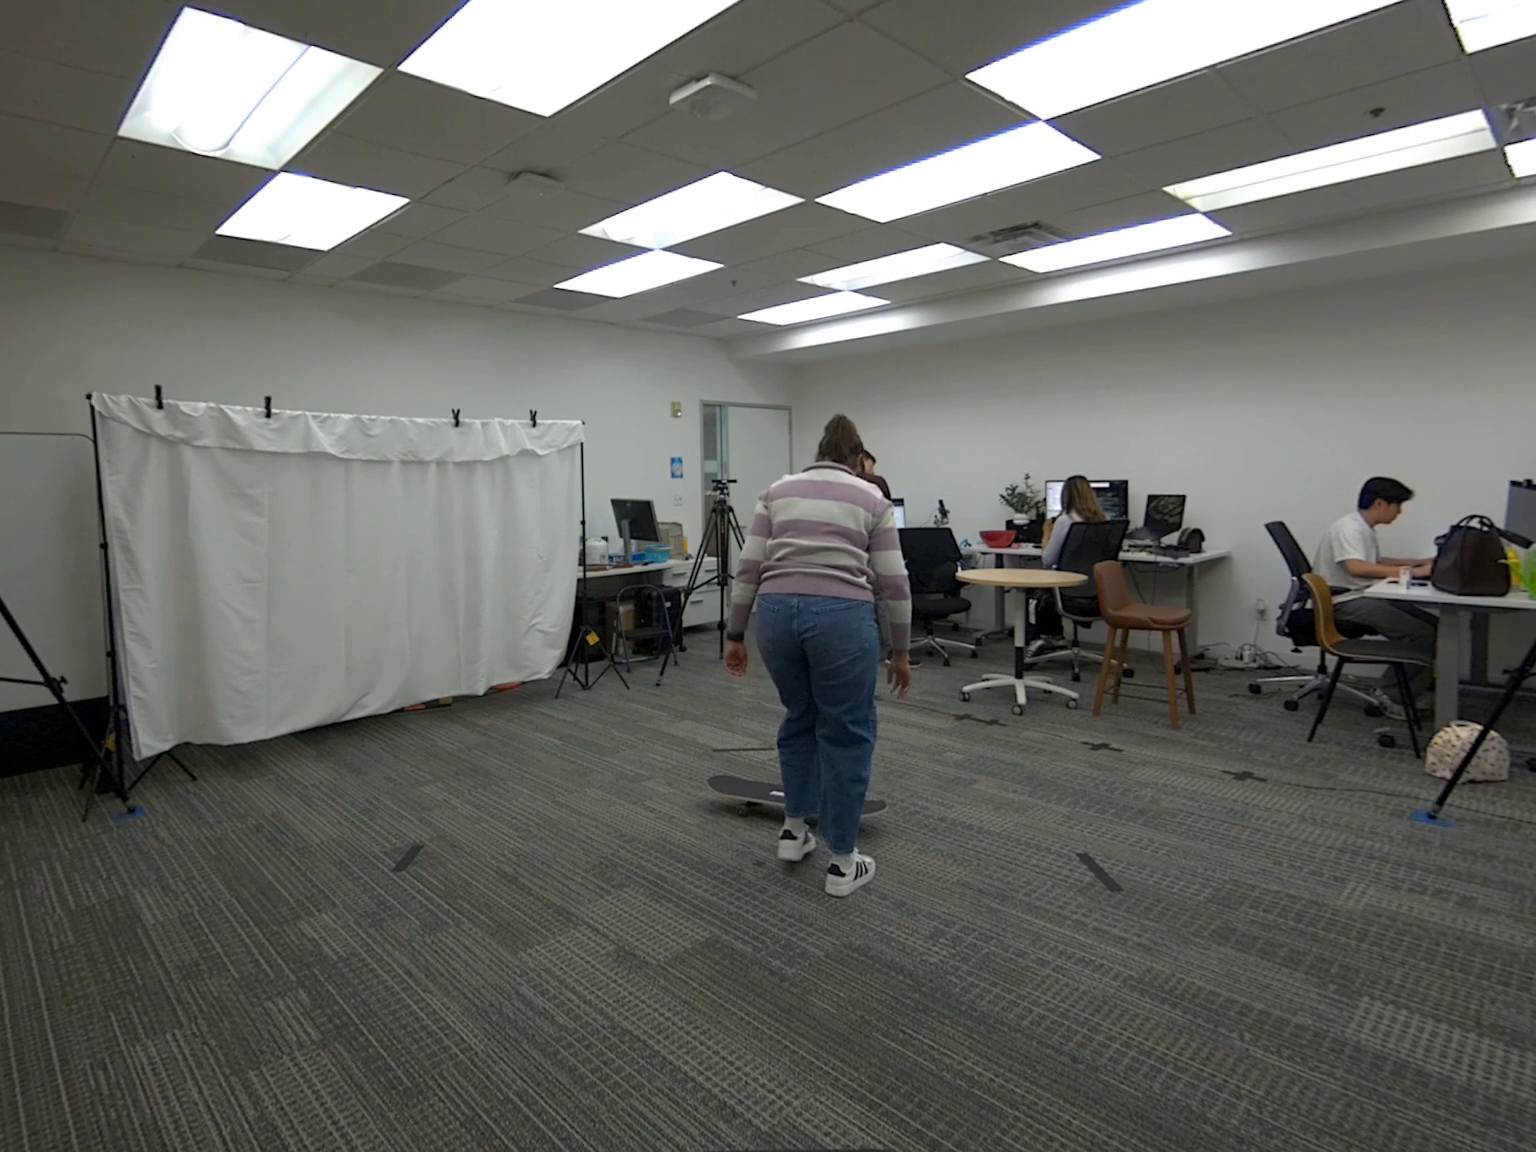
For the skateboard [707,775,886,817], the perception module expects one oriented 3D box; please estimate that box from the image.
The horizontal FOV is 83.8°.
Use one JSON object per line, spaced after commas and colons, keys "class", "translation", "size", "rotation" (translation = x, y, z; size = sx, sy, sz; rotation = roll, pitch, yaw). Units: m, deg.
{"class": "skateboard", "translation": [0.109, 0.939, 3.528], "size": [0.804, 0.110, 0.190], "rotation": [2, 7, 26]}
